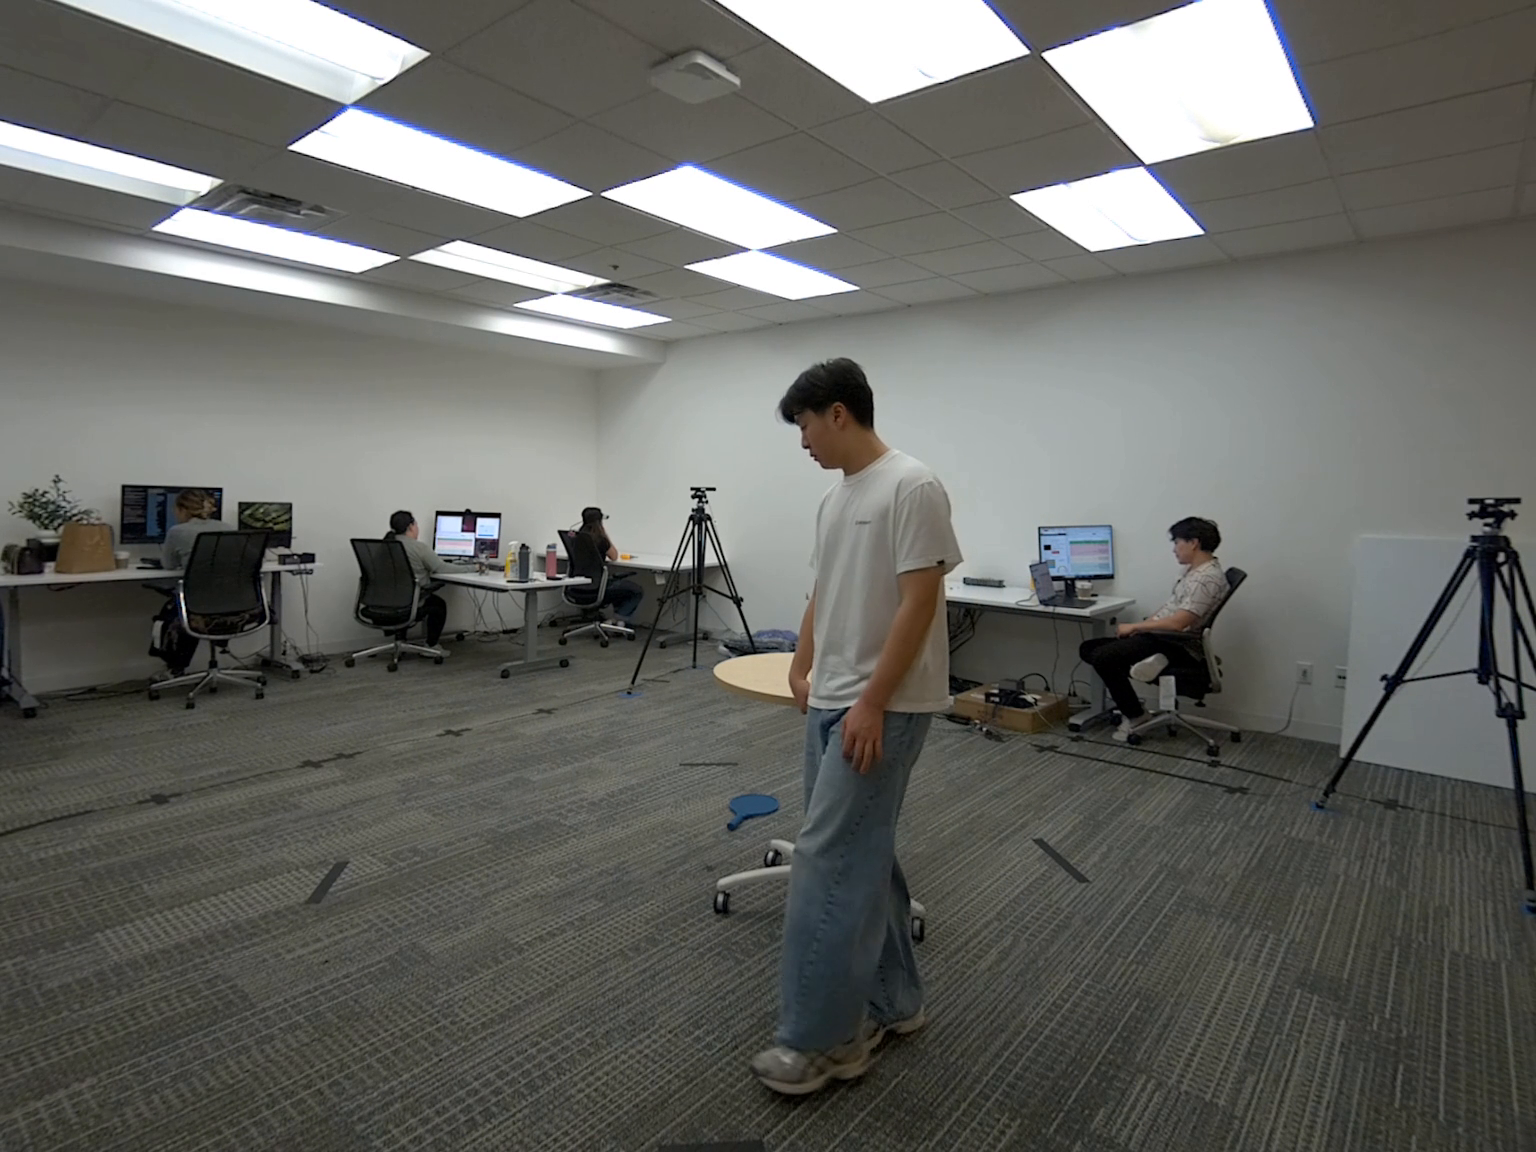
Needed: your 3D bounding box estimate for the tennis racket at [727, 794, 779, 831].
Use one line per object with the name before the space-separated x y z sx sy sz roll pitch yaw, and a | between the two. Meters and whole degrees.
tennis racket | -0.098 1.001 3.654 0.218 0.032 0.424 2 4 20
